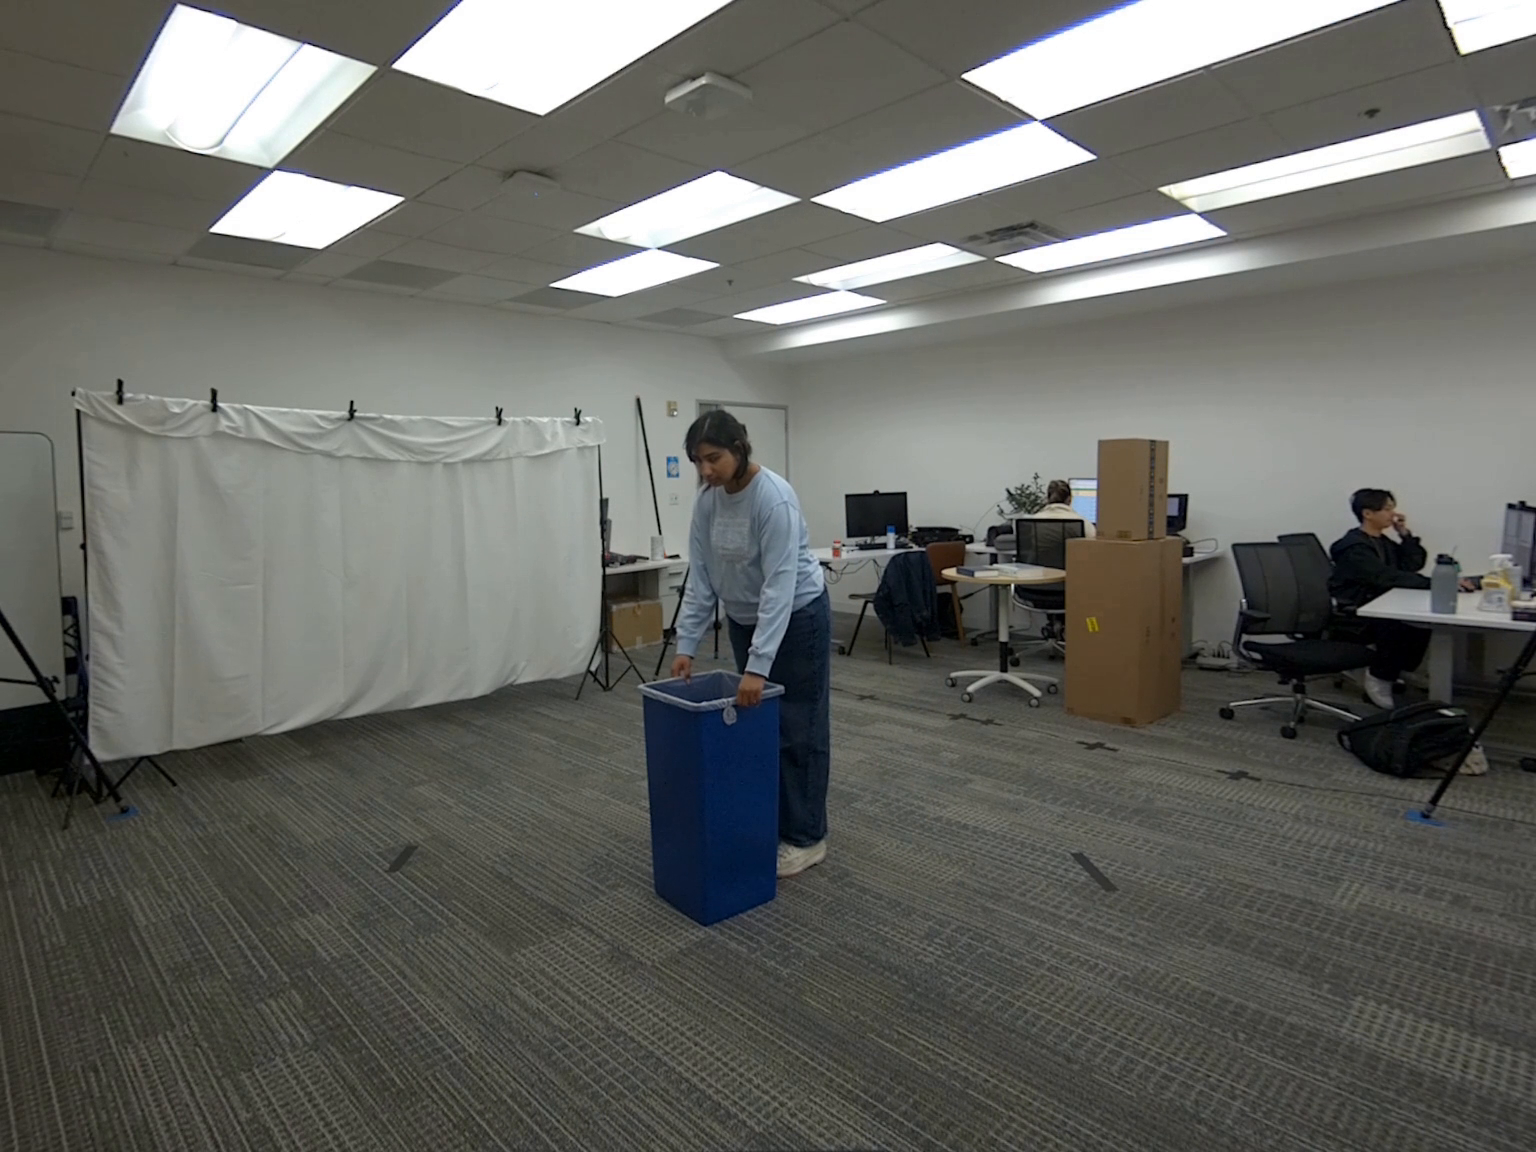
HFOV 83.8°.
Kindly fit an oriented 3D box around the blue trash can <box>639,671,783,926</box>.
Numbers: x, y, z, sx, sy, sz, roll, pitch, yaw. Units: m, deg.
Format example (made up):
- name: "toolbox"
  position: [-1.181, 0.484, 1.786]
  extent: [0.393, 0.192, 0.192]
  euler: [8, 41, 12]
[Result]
- name: "blue trash can"
  position: [-0.189, 0.716, 2.855]
  extent: [0.368, 0.711, 0.385]
  euler: [-4, 5, -40]
